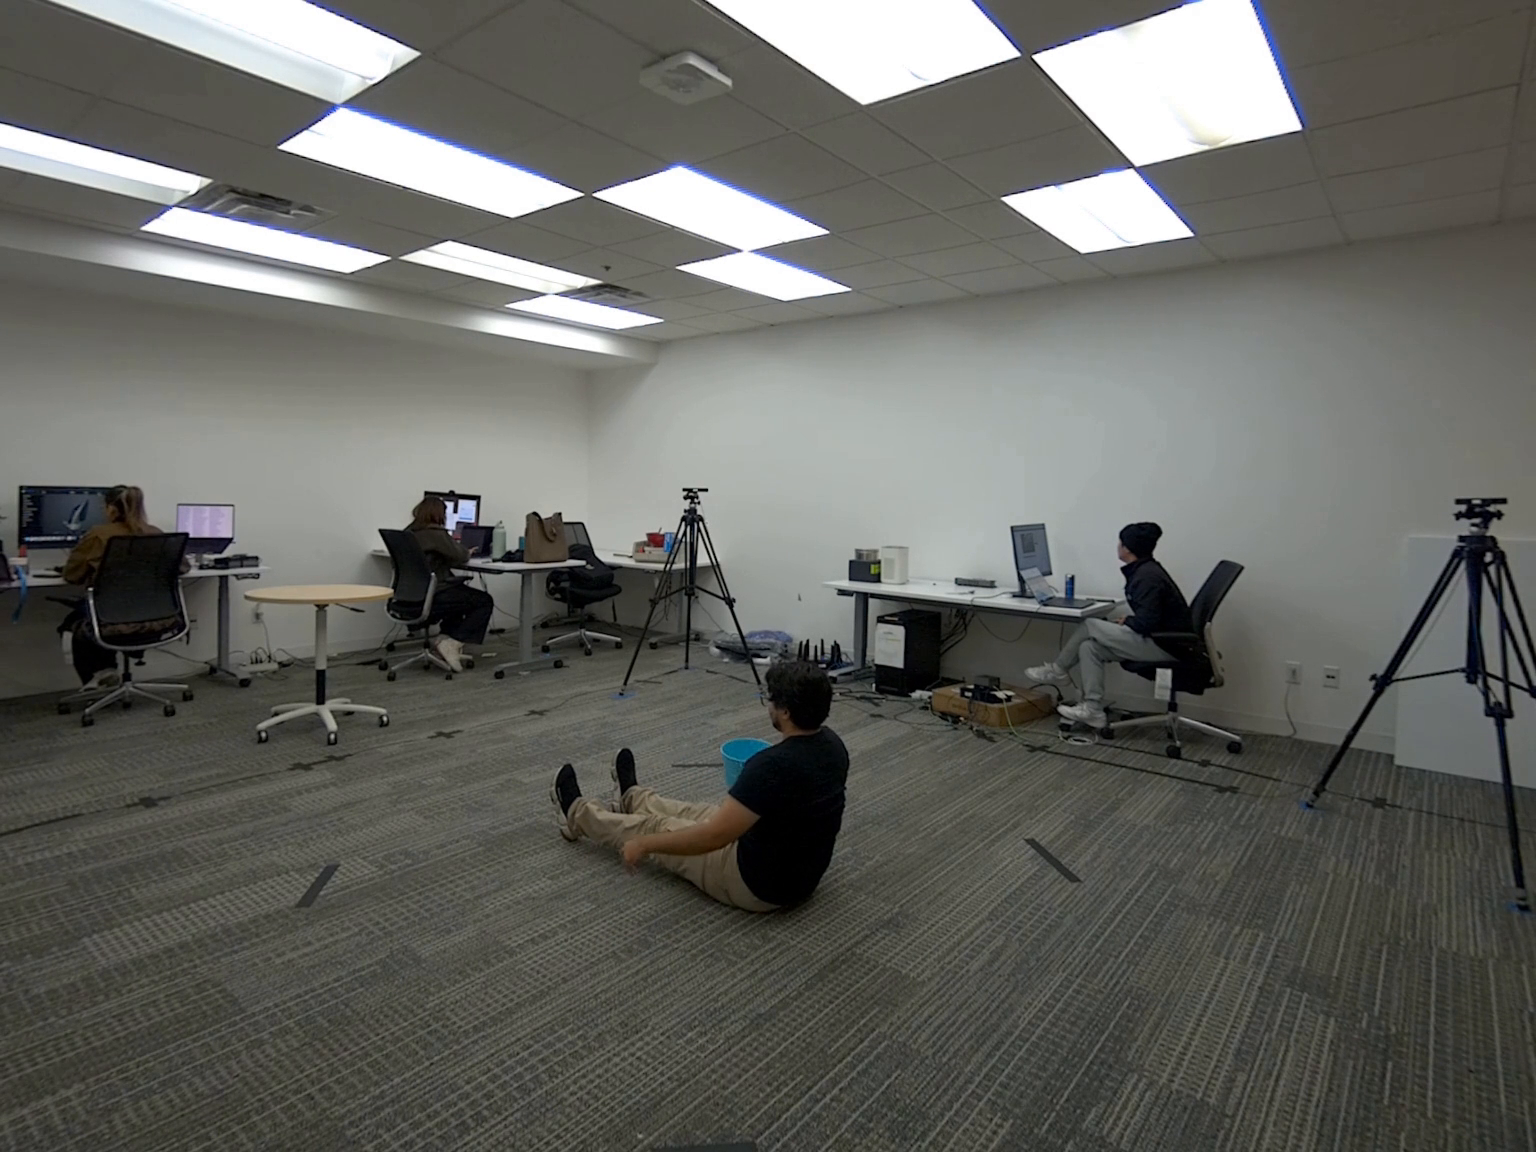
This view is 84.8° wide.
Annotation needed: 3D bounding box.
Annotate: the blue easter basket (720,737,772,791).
[{"bbox_3d":[-0.085,0.783,3.430,0.243,0.154,0.246,2,10,-2],"label":"blue easter basket"}]
